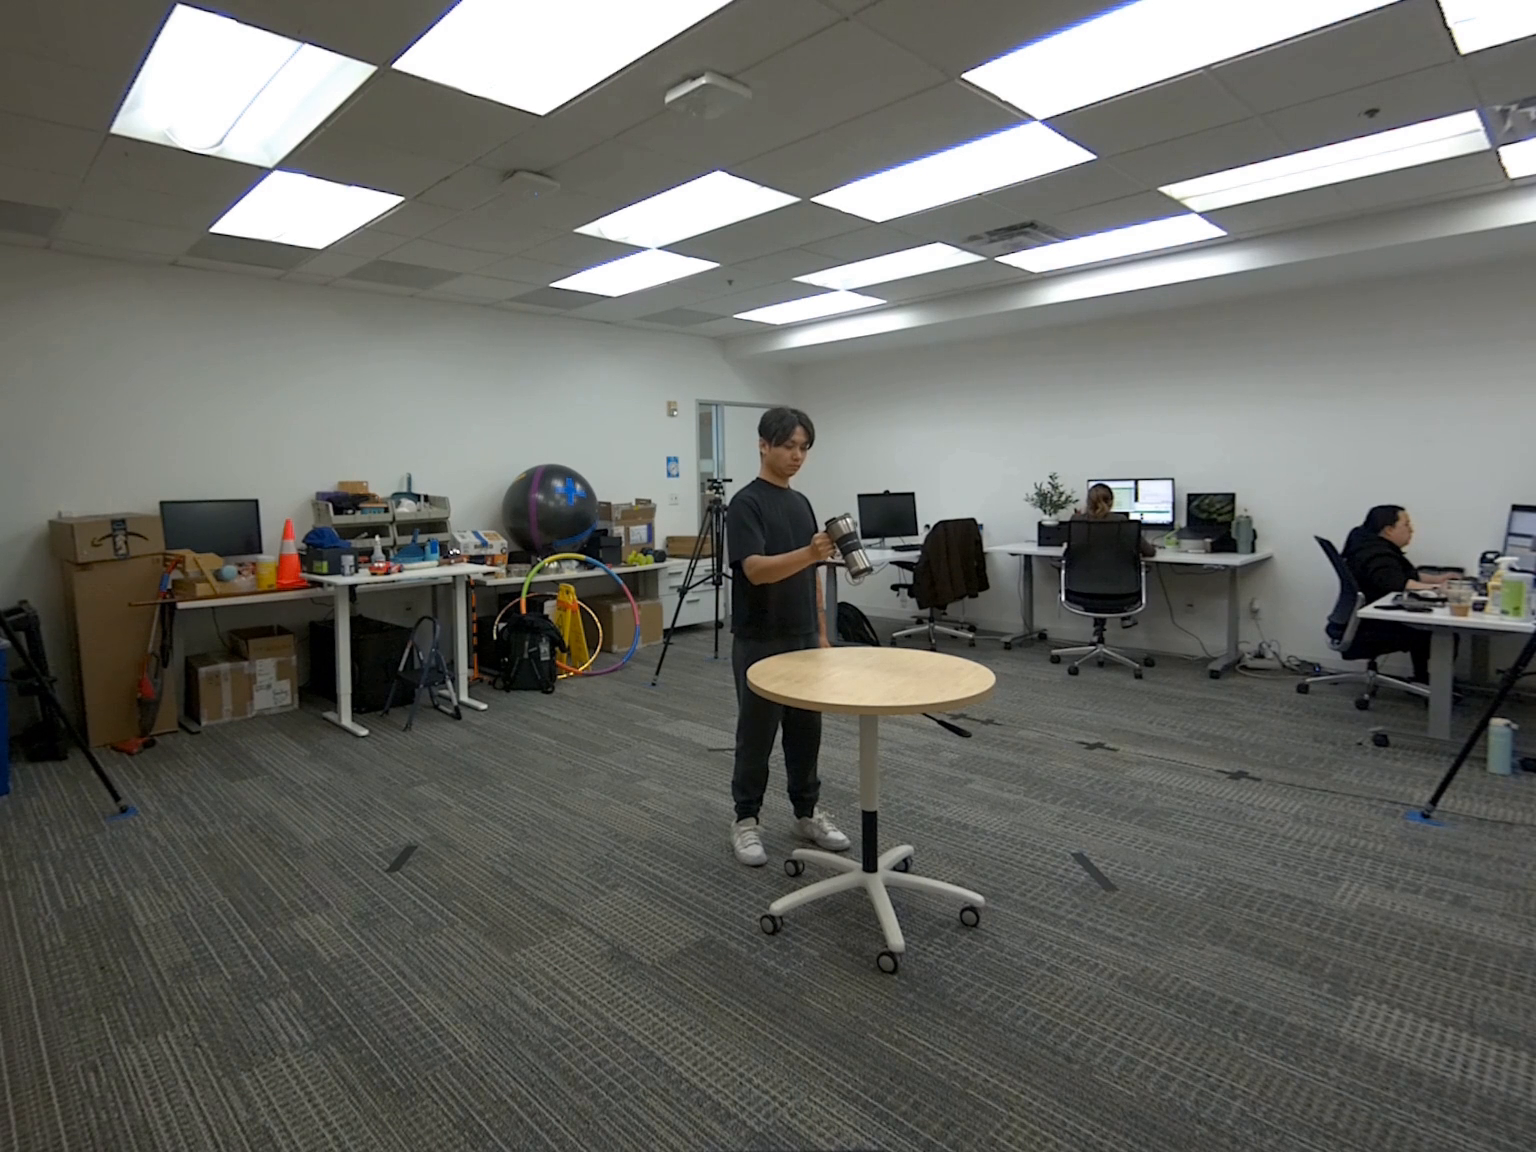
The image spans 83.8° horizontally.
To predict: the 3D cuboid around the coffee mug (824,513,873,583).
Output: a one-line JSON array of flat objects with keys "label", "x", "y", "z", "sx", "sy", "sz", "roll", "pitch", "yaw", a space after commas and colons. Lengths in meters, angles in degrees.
[{"label": "coffee mug", "x": 0.250, "y": -0.084, "z": 2.691, "sx": 0.086, "sy": 0.206, "sz": 0.121, "roll": -15, "pitch": -15, "yaw": -21}]
